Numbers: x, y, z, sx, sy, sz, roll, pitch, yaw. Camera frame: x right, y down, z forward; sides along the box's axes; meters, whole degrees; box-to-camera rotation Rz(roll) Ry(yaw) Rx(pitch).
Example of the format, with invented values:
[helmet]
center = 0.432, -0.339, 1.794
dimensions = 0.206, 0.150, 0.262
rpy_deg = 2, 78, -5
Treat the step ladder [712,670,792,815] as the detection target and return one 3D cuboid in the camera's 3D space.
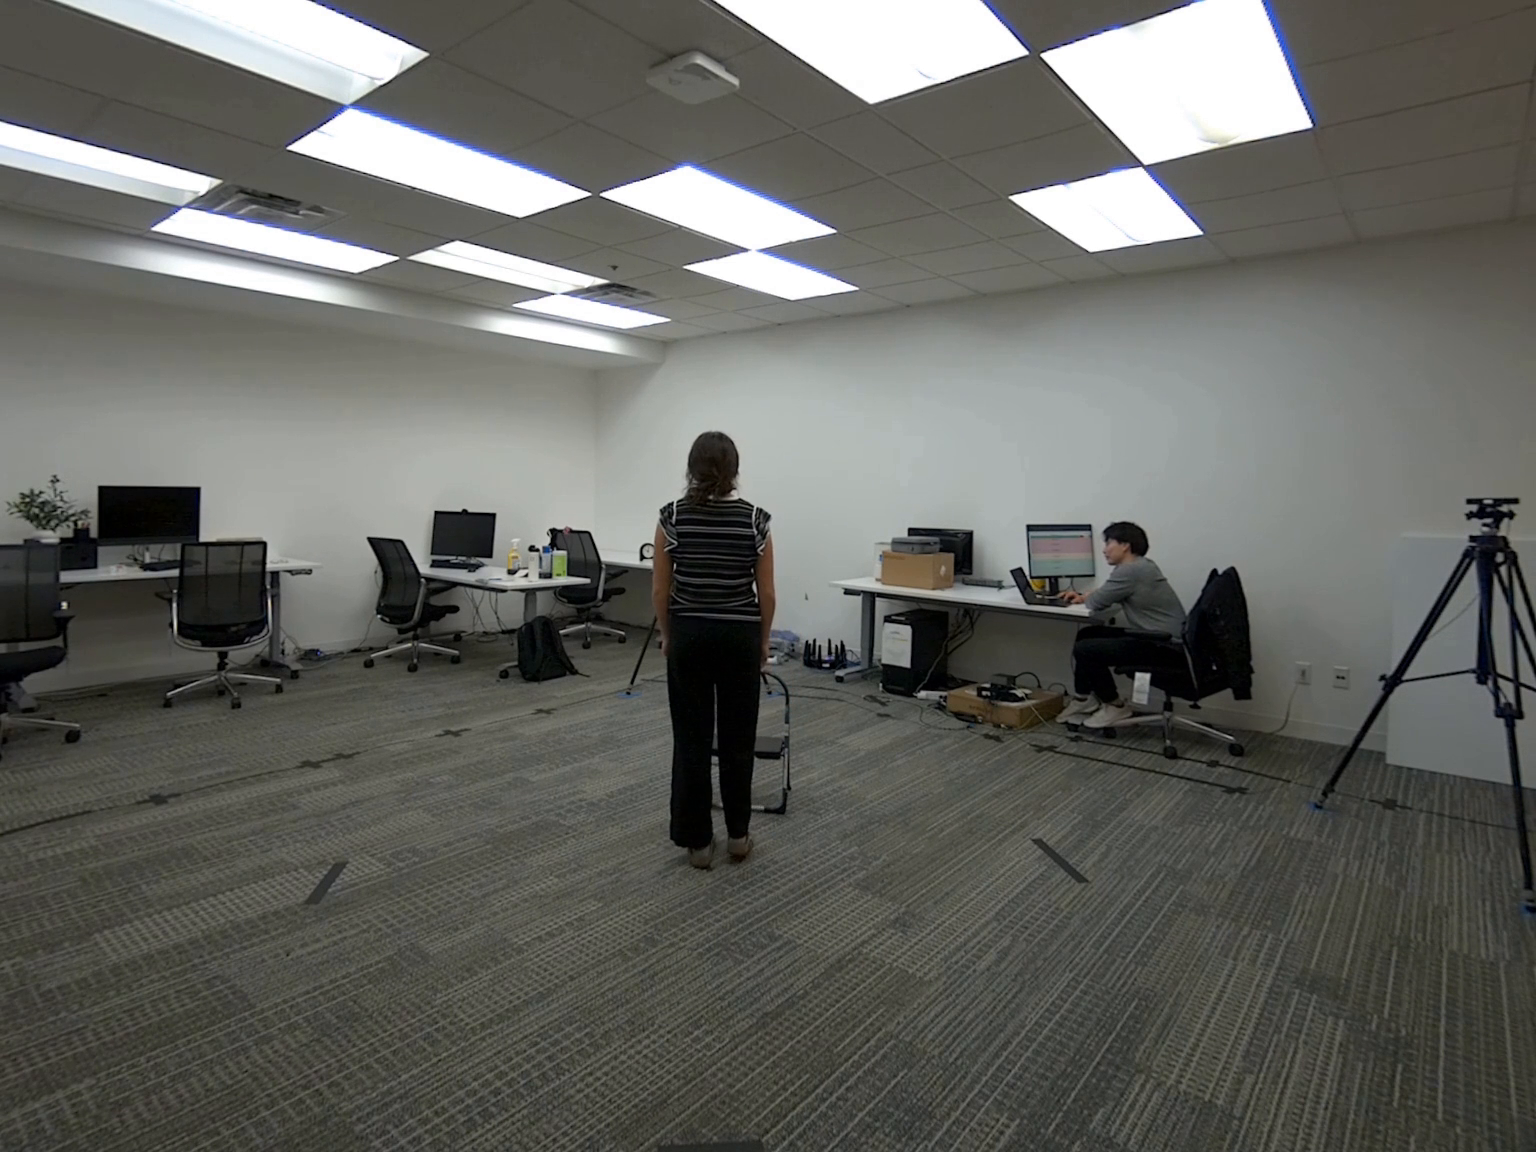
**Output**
[step ladder]
center = -0.115, 0.695, 3.829
dimensions = 0.434, 0.604, 0.348
rpy_deg = 2, 4, 6
